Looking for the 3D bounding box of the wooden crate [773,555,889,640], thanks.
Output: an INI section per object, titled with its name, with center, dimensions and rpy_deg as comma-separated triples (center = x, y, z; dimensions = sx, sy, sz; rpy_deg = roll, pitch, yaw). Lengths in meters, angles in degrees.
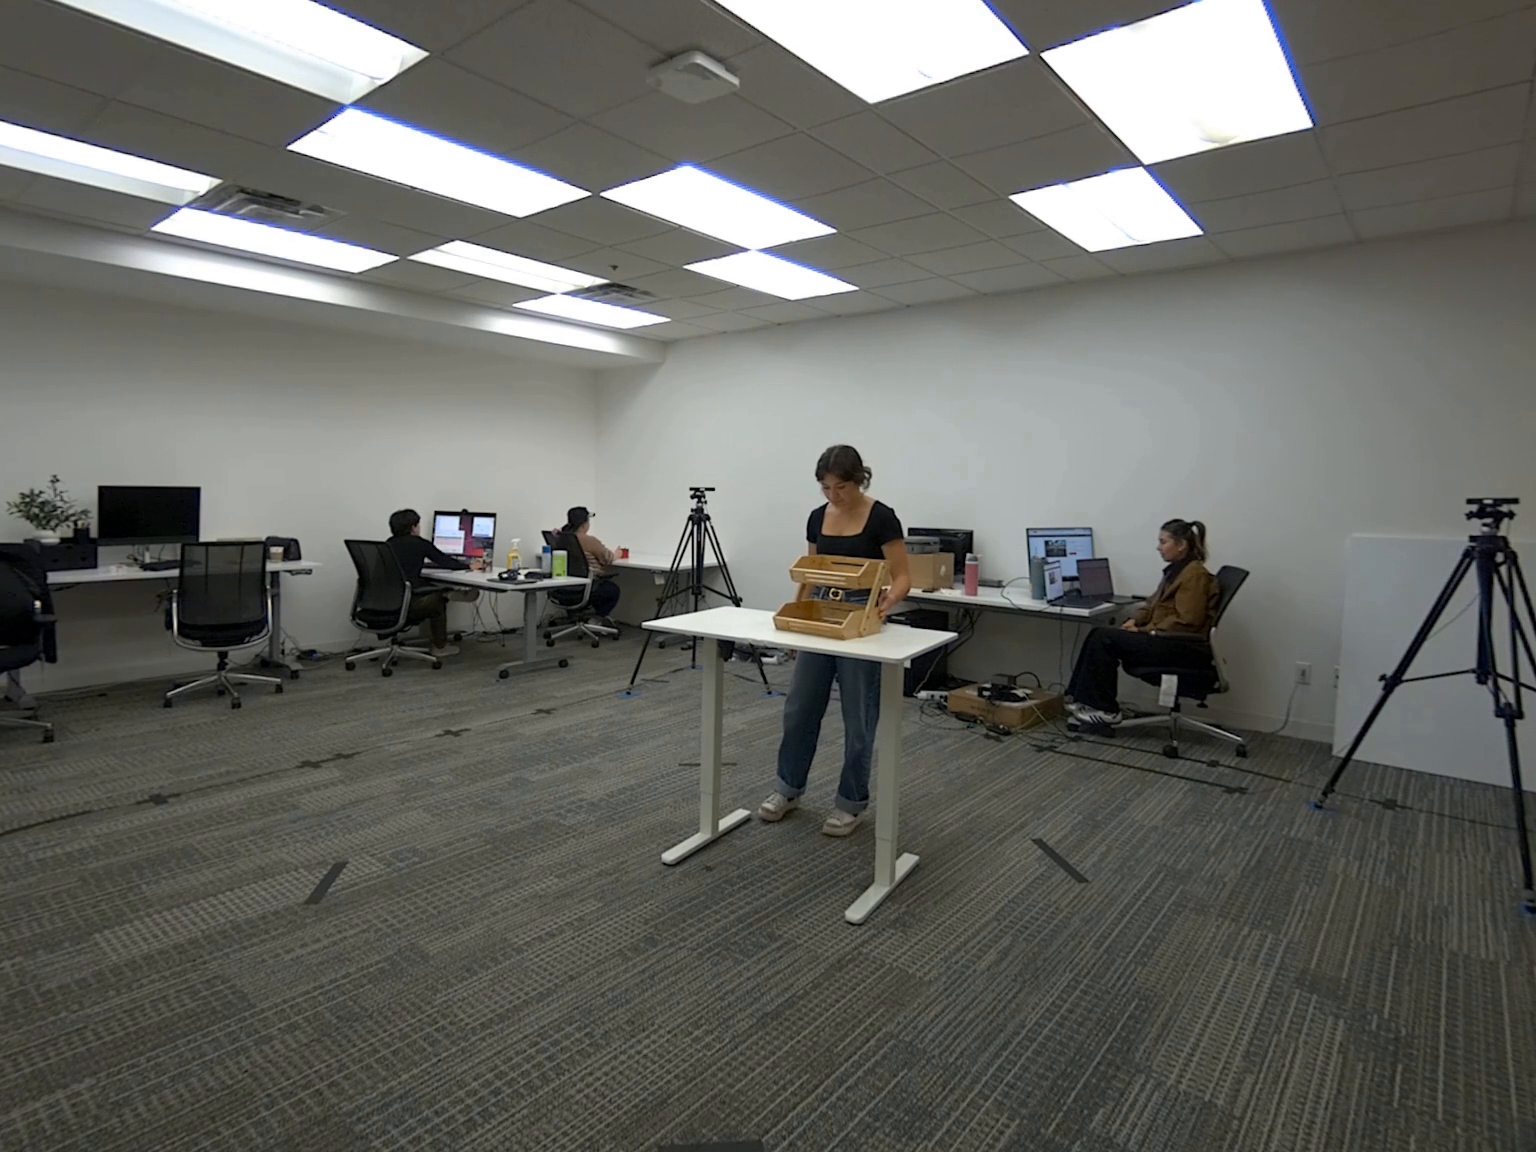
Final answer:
[wooden crate]
center = 0.221, 0.064, 3.088
dimensions = 0.335, 0.272, 0.293
rpy_deg = 6, 5, 40
